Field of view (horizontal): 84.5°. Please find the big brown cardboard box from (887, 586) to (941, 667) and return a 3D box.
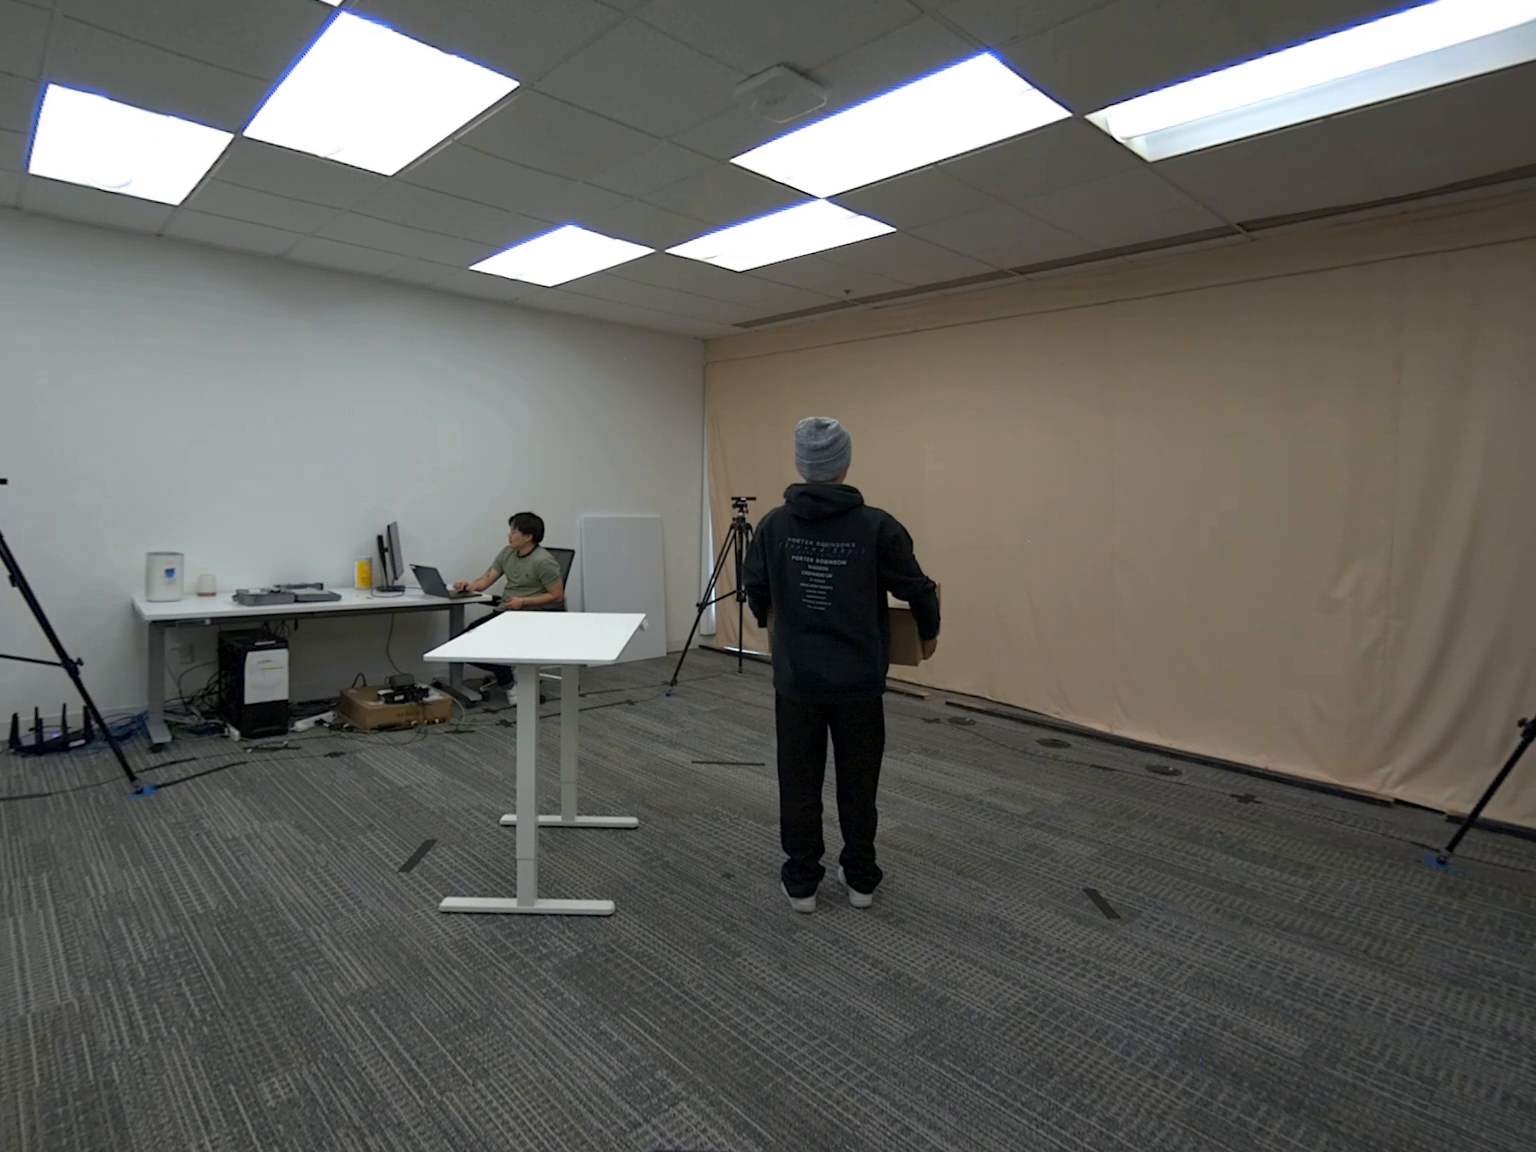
[{"bbox_3d":[0.341,0.159,3.237,0.600,0.231,0.414,2,13,23],"label":"big brown cardboard box"}]
